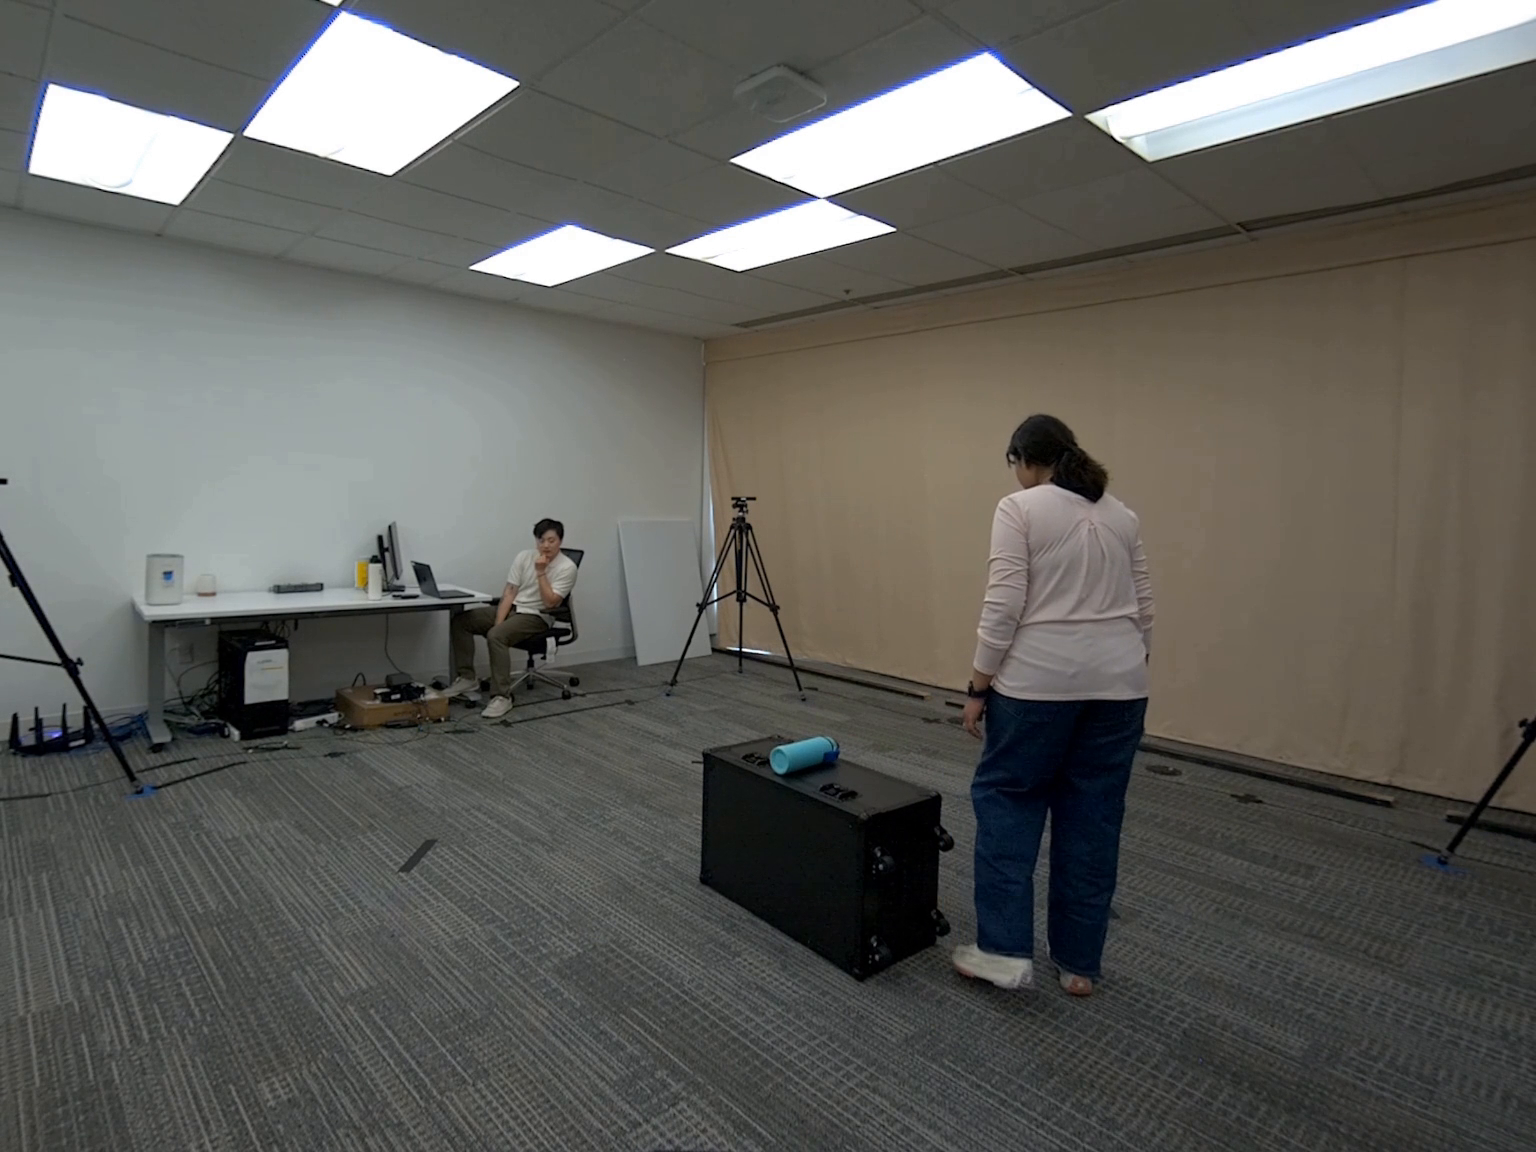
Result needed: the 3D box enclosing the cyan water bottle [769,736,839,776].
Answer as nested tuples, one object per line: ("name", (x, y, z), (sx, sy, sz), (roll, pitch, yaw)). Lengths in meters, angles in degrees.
("cyan water bottle", (0.122, 0.604, 2.874), (0.277, 0.092, 0.095), (-2, 5, -44))
